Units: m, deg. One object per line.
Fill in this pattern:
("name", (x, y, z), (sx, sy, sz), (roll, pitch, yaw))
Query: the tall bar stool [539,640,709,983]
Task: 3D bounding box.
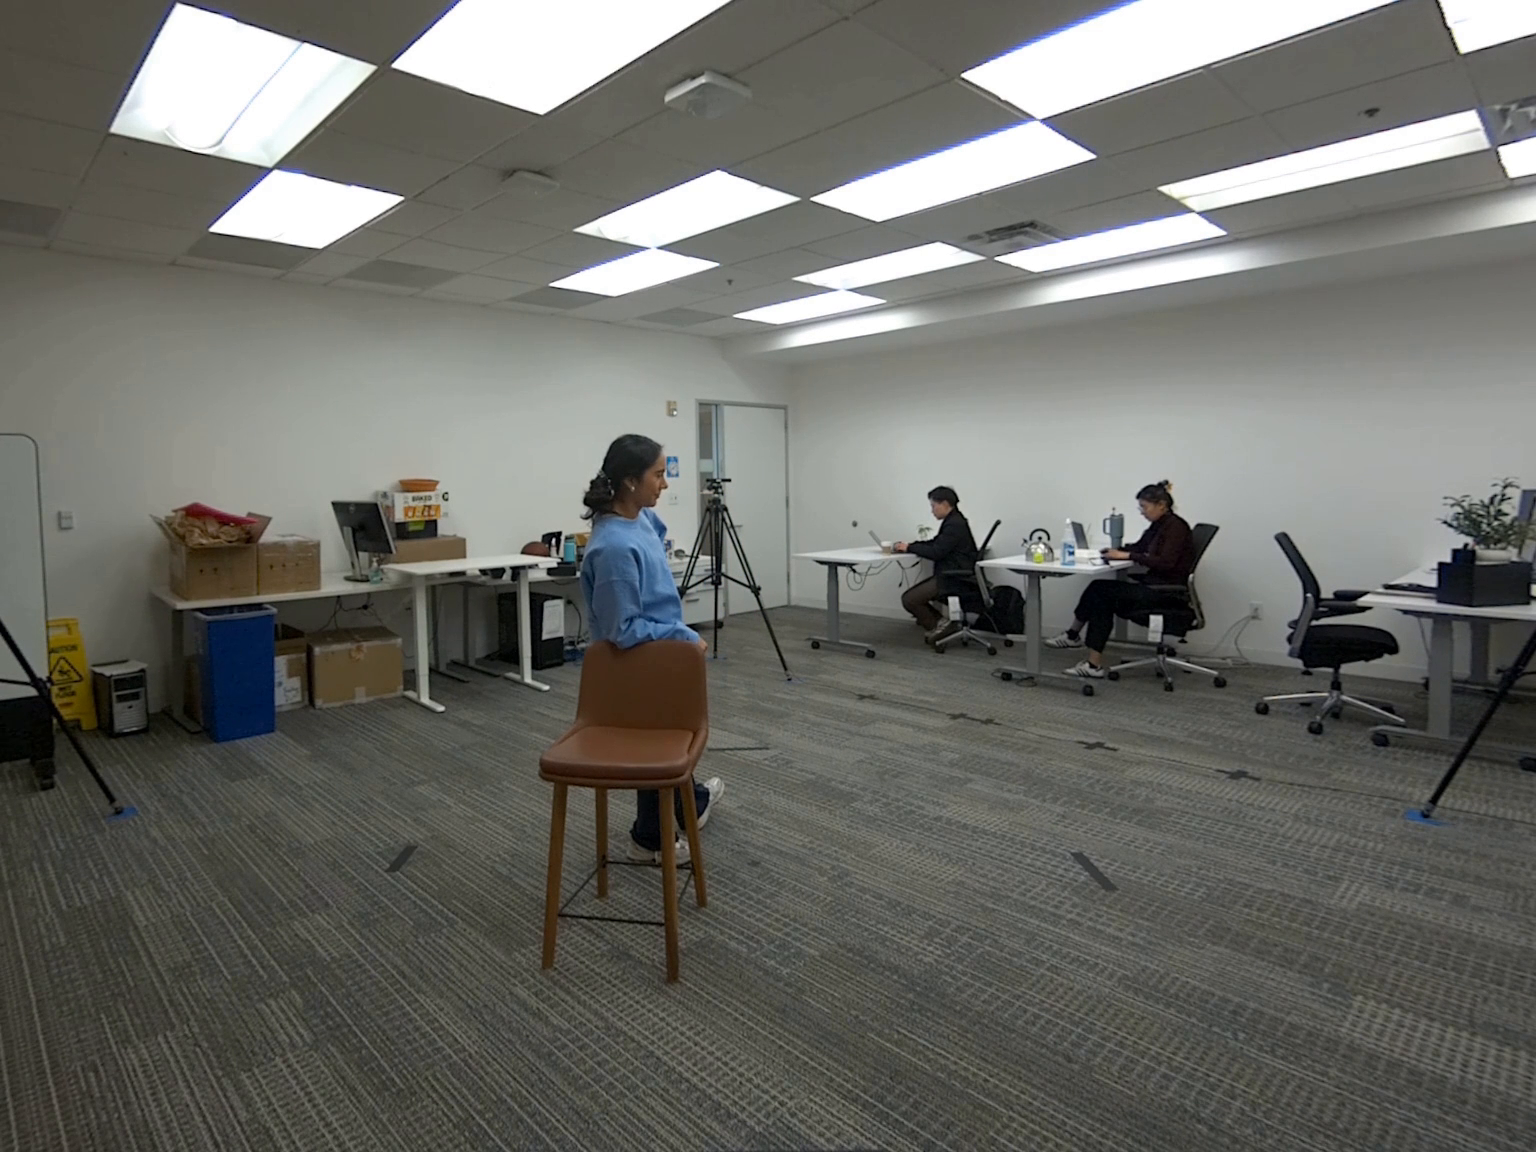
("tall bar stool", (-0.423, 0.675, 2.614), (0.462, 0.888, 0.463), (0, 3, 12))
